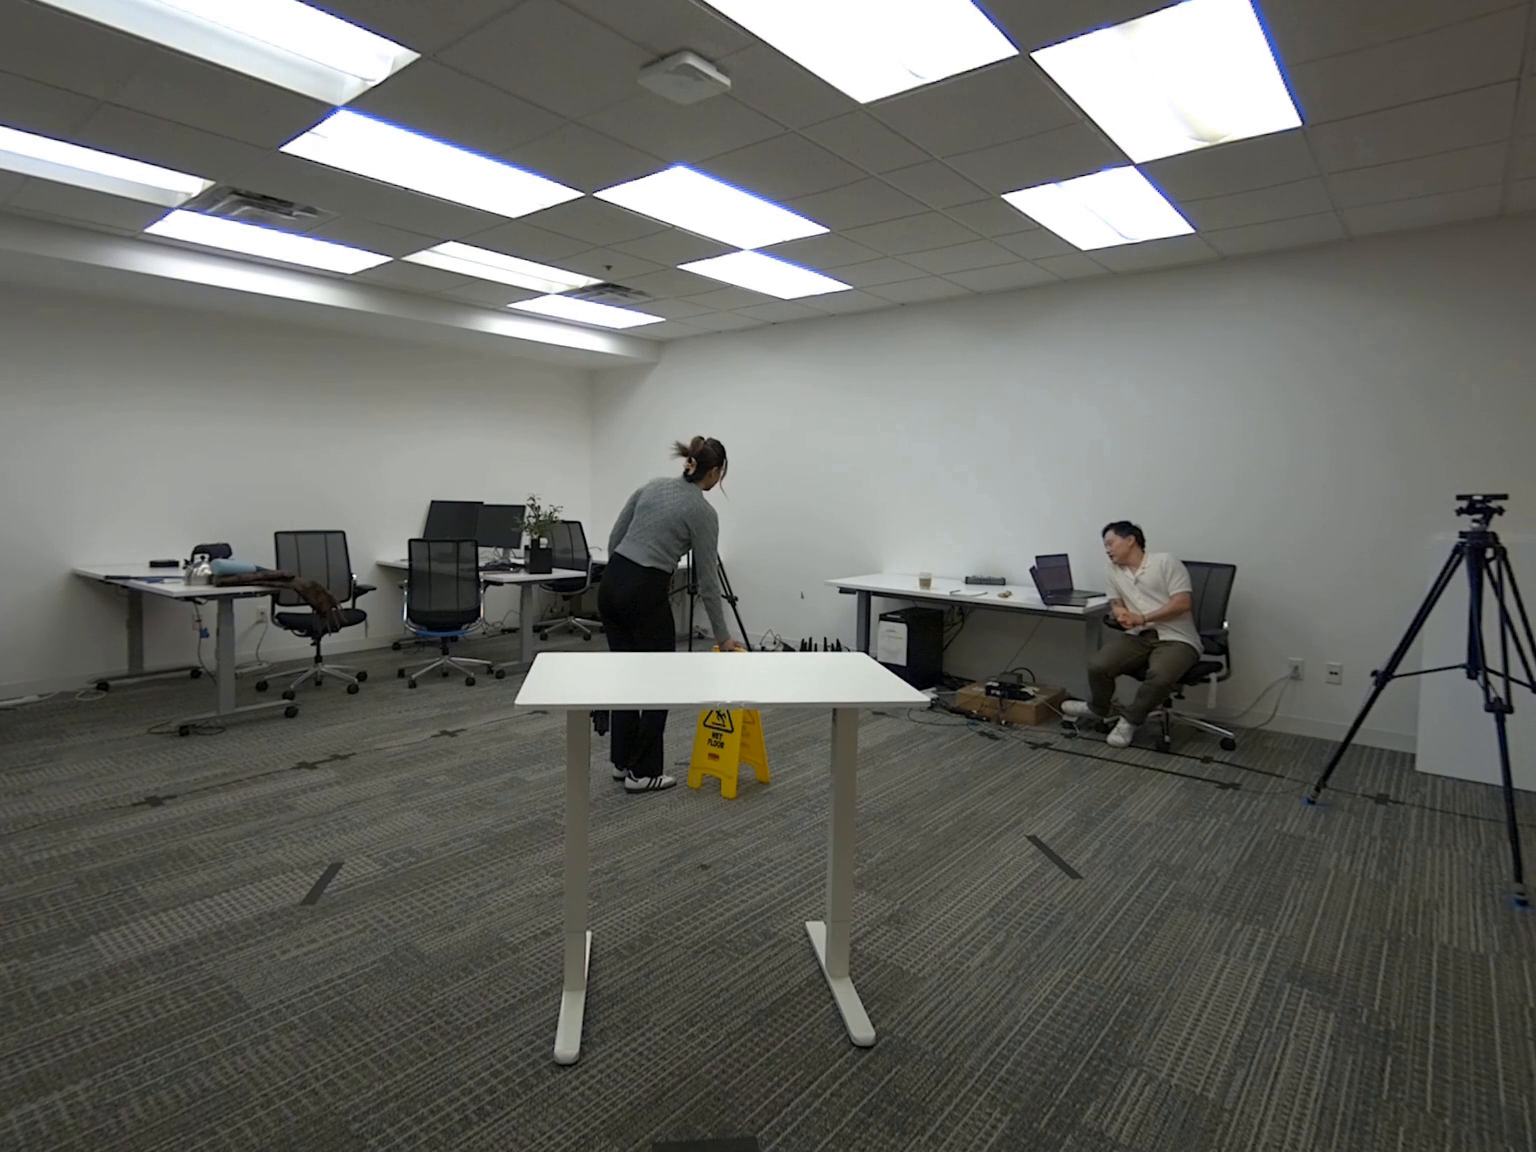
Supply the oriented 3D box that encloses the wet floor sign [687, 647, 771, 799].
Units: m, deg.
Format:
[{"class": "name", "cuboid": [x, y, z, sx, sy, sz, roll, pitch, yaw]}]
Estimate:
[{"class": "wet floor sign", "cuboid": [-0.190, 0.655, 3.992, 0.291, 0.644, 0.281, 4, 4, 36]}]
